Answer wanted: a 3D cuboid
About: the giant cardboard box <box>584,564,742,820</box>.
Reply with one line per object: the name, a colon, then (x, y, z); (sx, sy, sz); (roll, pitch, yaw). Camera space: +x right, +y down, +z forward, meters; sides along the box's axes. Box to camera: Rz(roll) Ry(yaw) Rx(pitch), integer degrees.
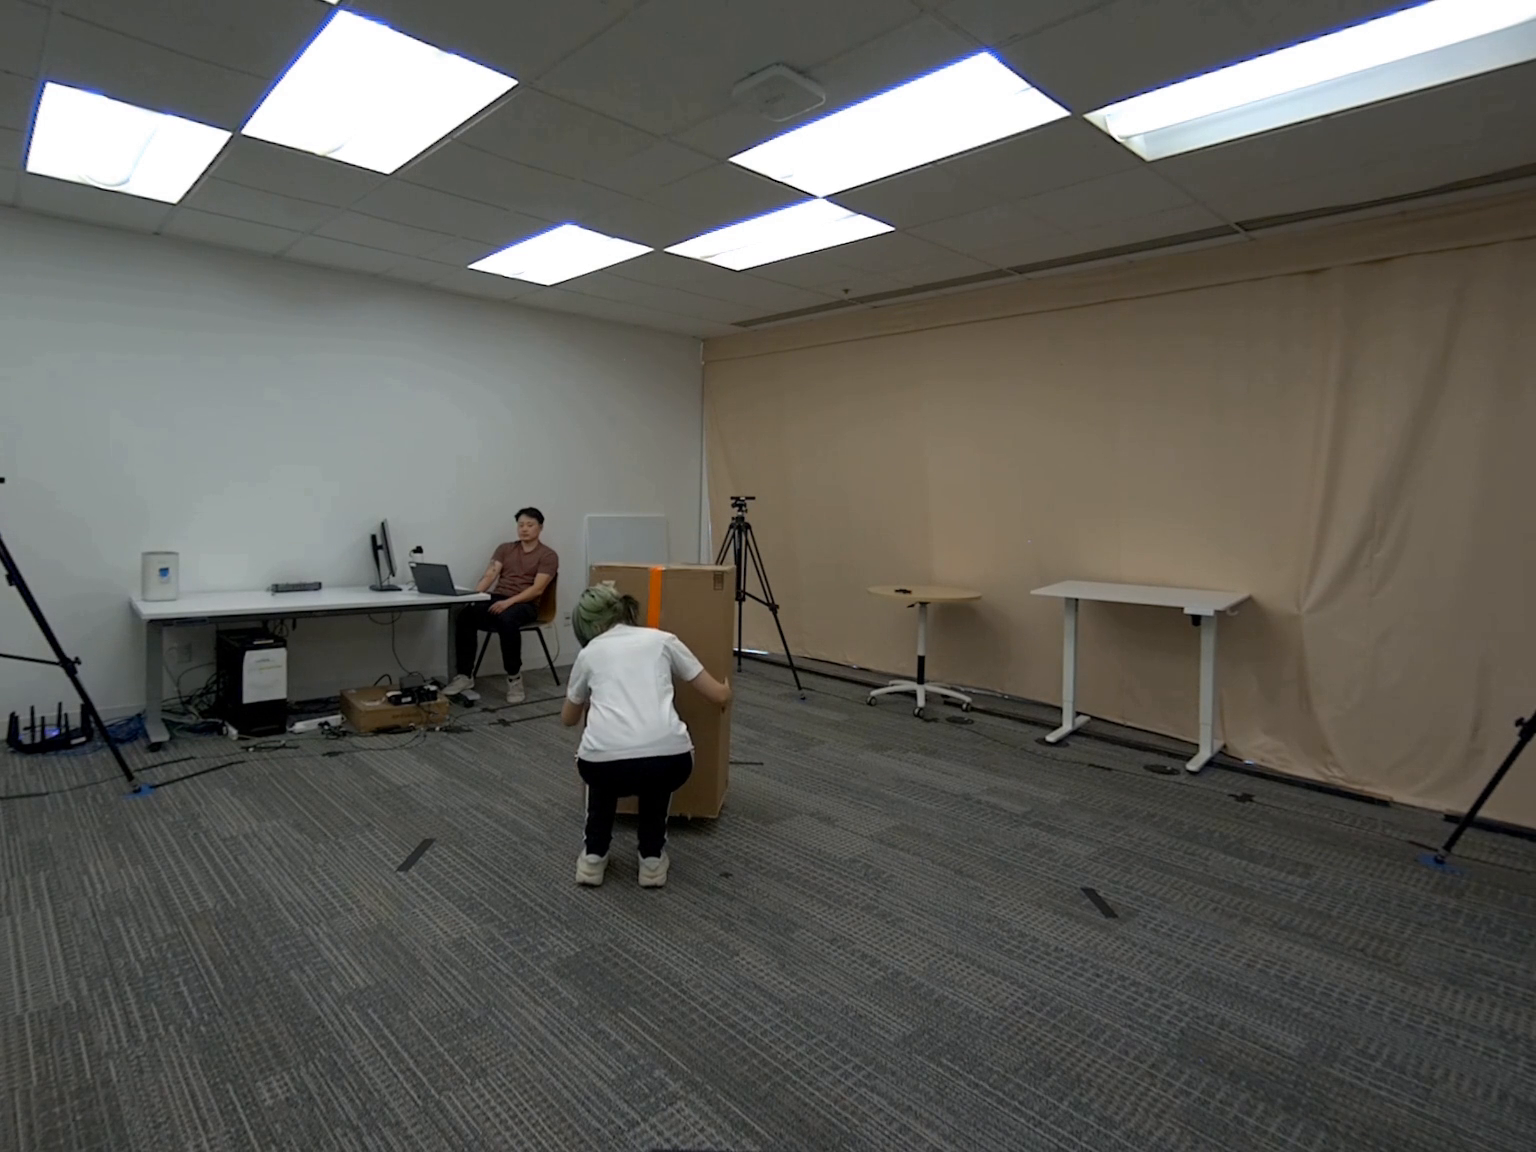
giant cardboard box: (-0.470, 0.467, 3.675); (0.586, 1.027, 0.445); (2, 0, 4)
